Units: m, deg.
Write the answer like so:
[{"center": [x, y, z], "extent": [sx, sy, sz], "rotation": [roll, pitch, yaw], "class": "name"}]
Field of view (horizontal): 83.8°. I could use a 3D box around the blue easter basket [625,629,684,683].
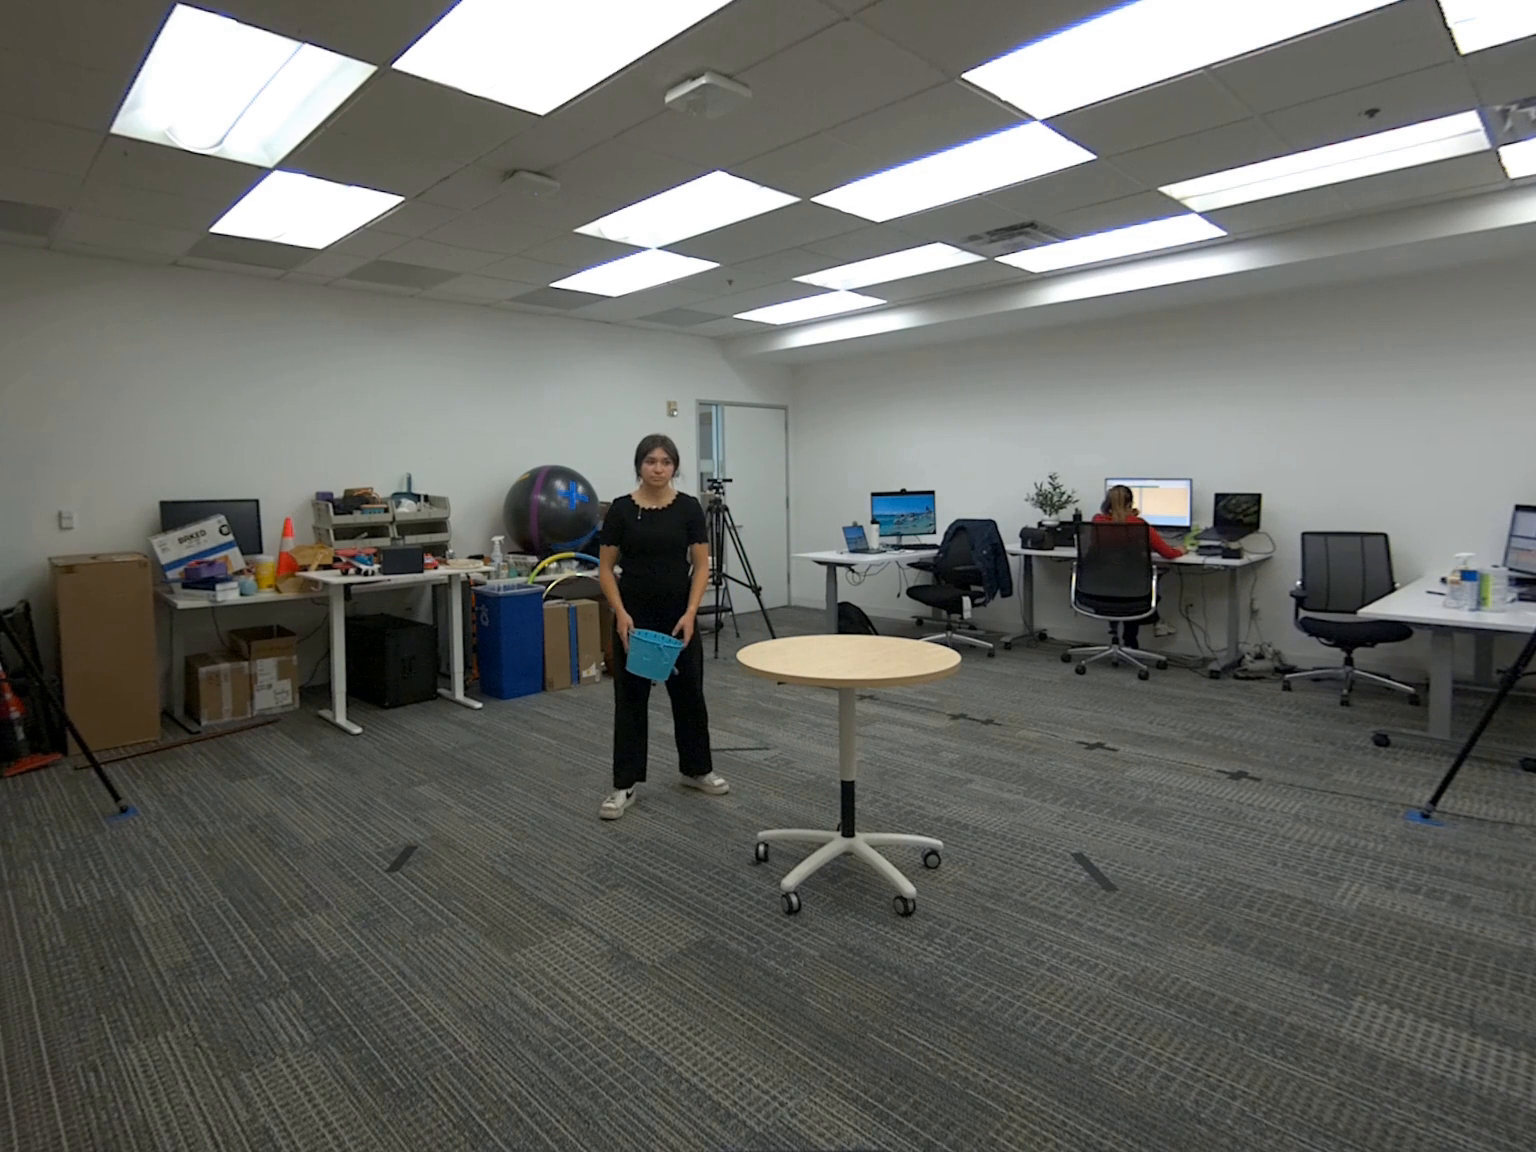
[{"center": [-0.473, 0.329, 3.509], "extent": [0.243, 0.155, 0.244], "rotation": [13, 4, -2], "class": "blue easter basket"}]
